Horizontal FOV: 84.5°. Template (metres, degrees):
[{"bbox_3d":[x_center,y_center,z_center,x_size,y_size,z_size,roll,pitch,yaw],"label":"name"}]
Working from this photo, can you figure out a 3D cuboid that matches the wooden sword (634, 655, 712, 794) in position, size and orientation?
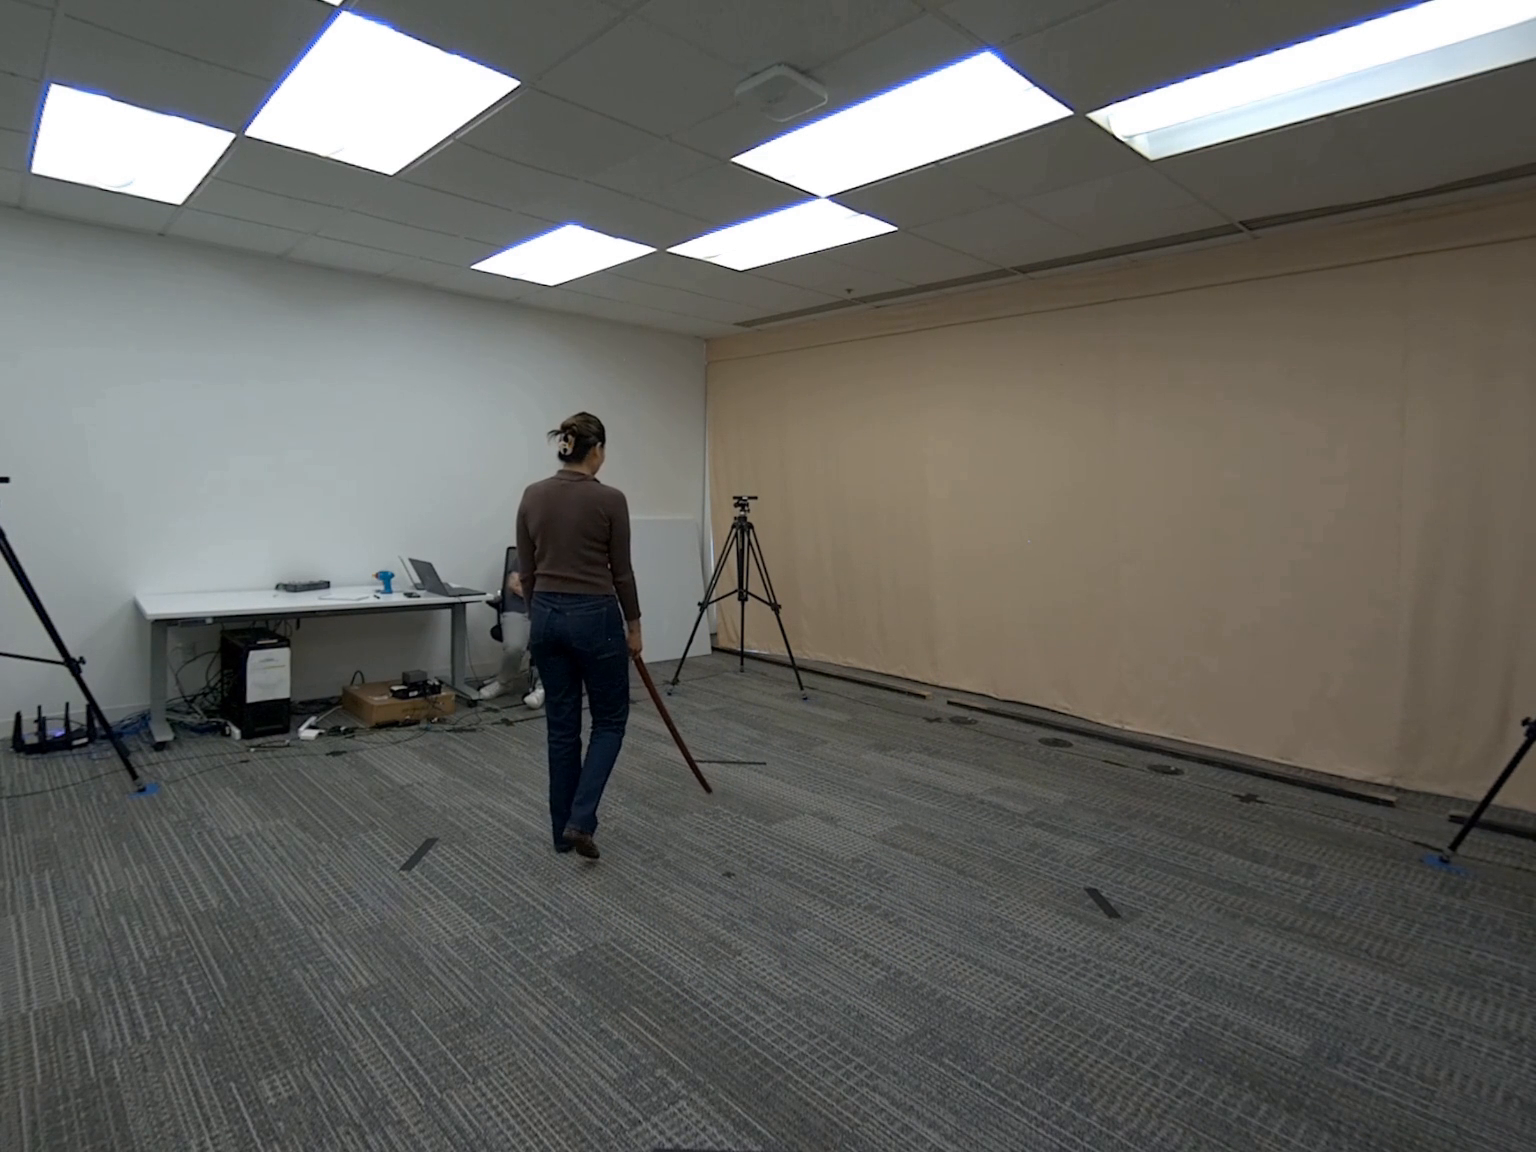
[{"bbox_3d":[-0.436,0.650,3.710,0.052,0.997,0.024,1,41,29],"label":"wooden sword"}]
